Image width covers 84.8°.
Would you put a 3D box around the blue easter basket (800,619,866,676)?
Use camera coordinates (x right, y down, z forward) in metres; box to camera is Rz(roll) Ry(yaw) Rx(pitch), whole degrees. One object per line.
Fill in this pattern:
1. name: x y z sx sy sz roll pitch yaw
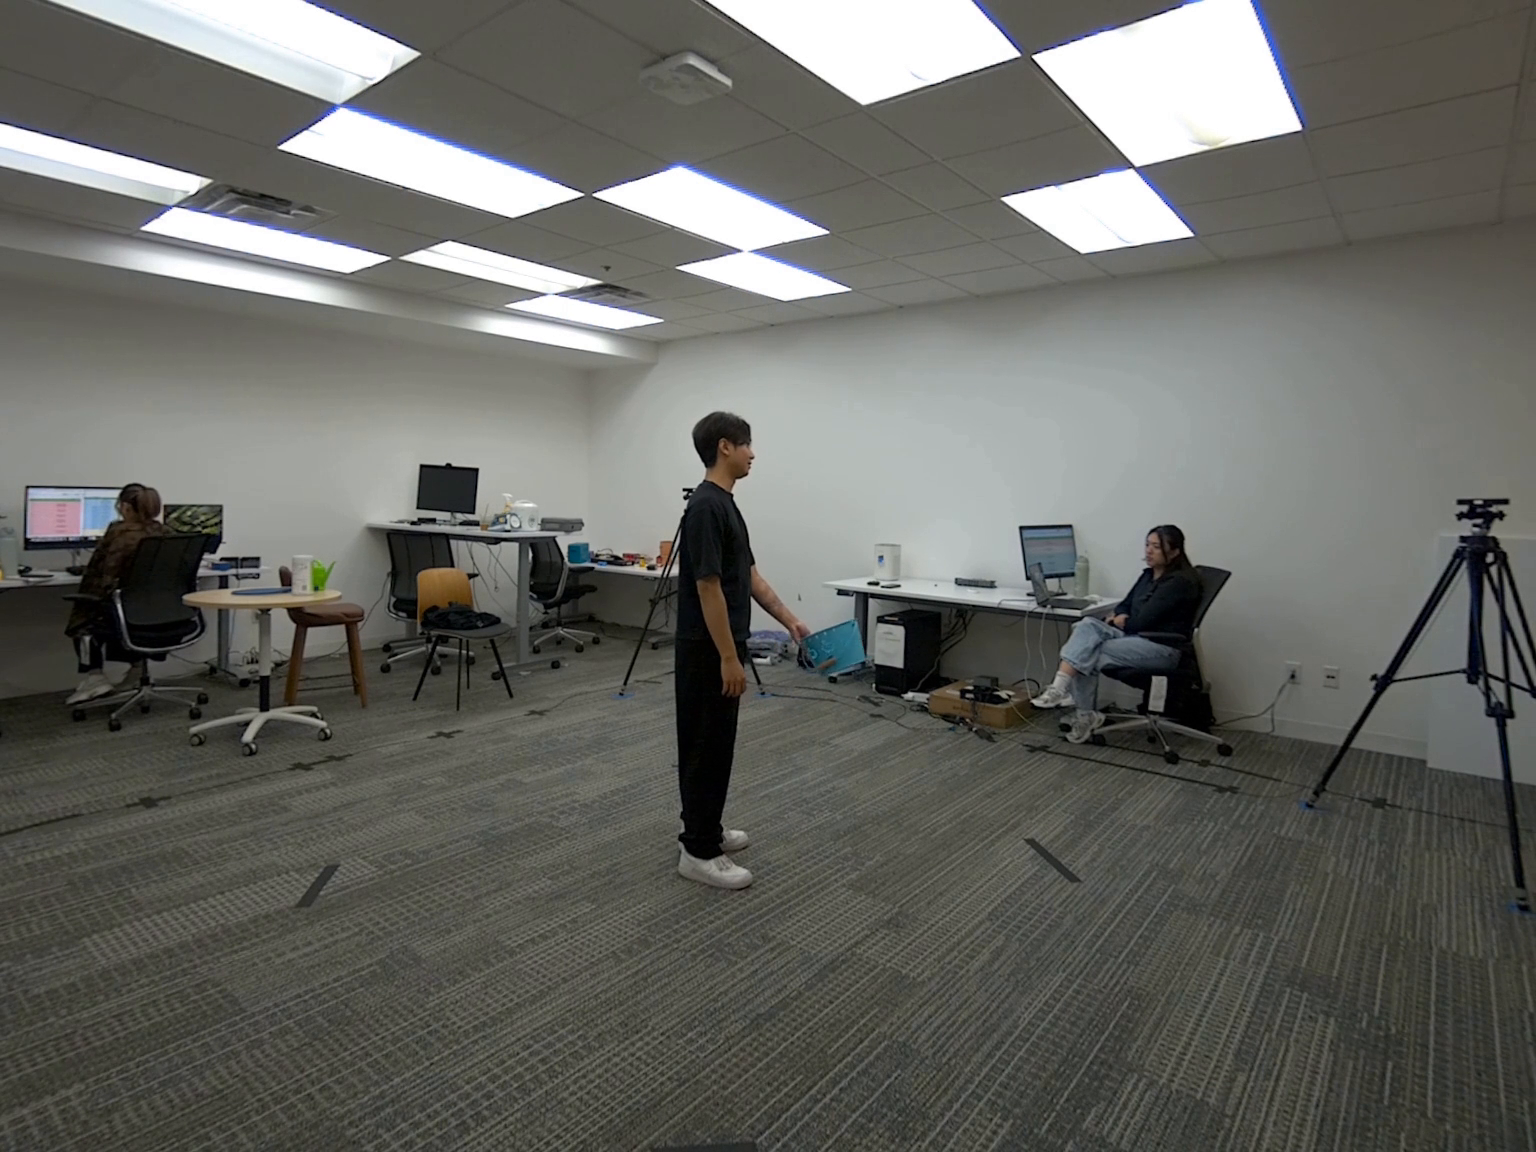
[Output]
1. blue easter basket: 0.218 0.288 3.141 0.243 0.158 0.241 -18 -11 -6
